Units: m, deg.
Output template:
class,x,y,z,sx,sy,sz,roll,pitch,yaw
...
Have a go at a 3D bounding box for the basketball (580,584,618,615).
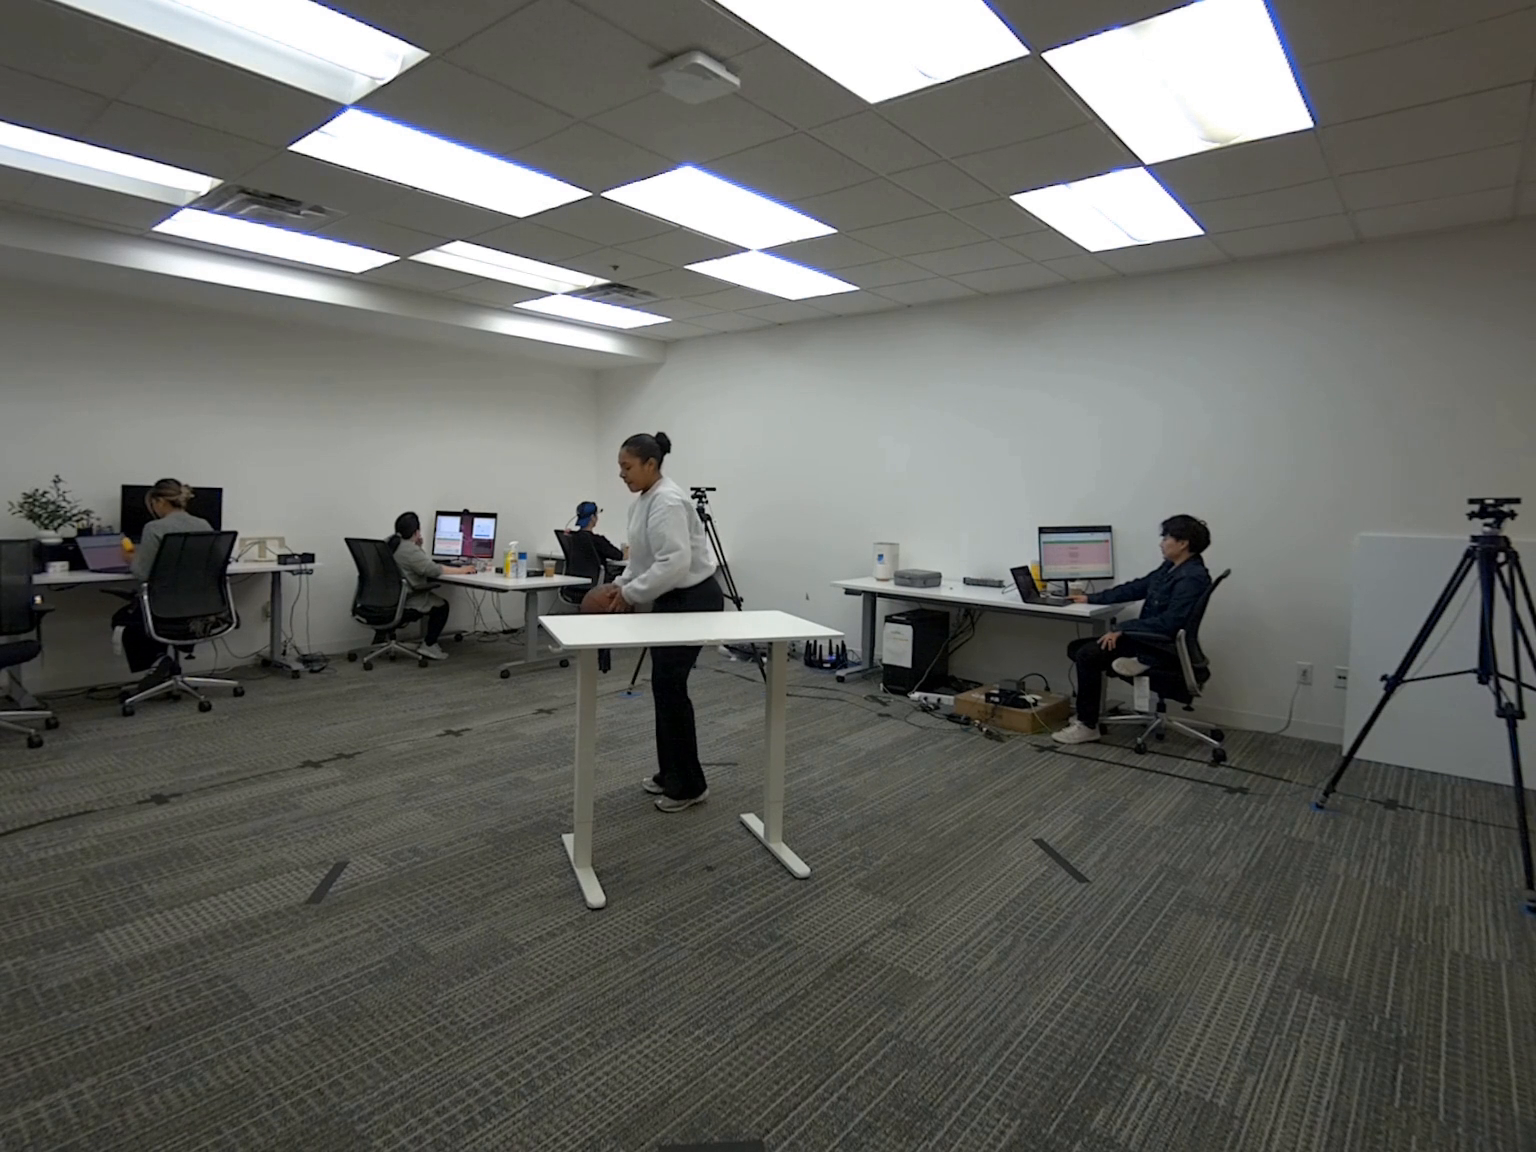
class,x,y,z,sx,sy,sz,roll,pitch,yaw
basketball,-0.706,0.150,3.746,0.235,0.235,0.237,1,4,-2
